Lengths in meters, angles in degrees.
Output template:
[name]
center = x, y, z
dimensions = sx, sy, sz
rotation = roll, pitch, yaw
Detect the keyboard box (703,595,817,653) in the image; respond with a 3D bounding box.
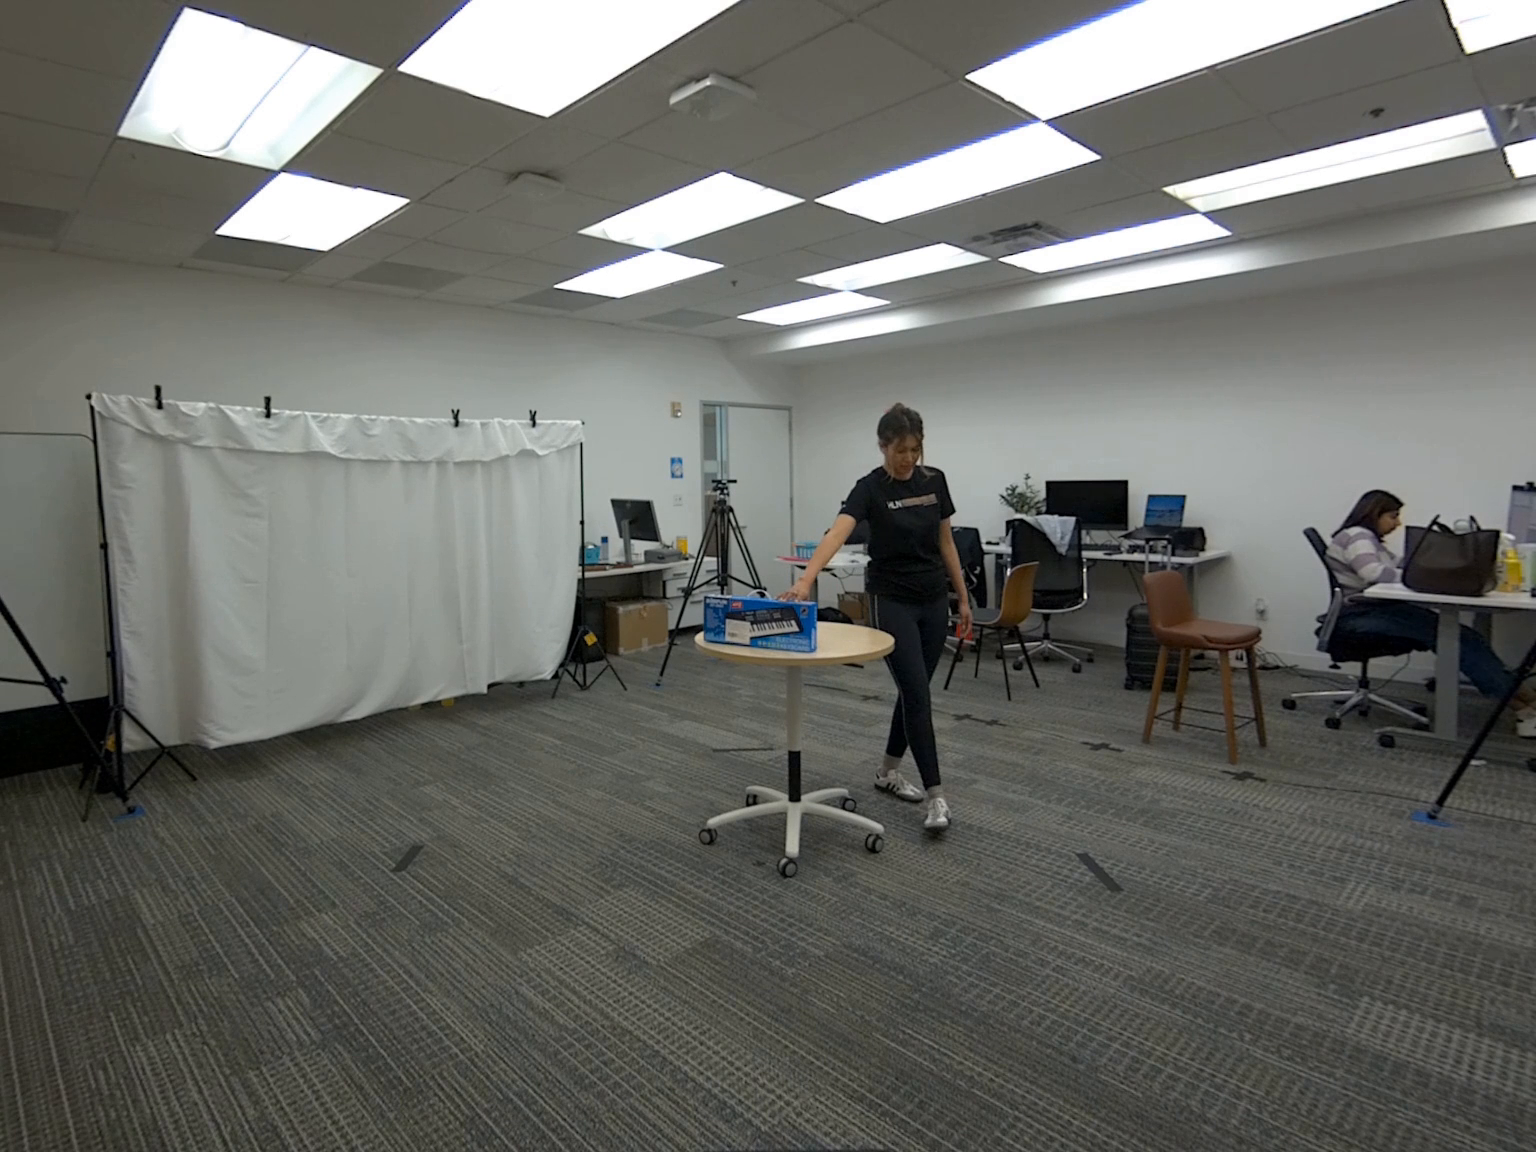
[keyboard box]
center = -0.032, 0.172, 3.129
dimensions = 0.448, 0.175, 0.058
rotation = 3, 4, 28
